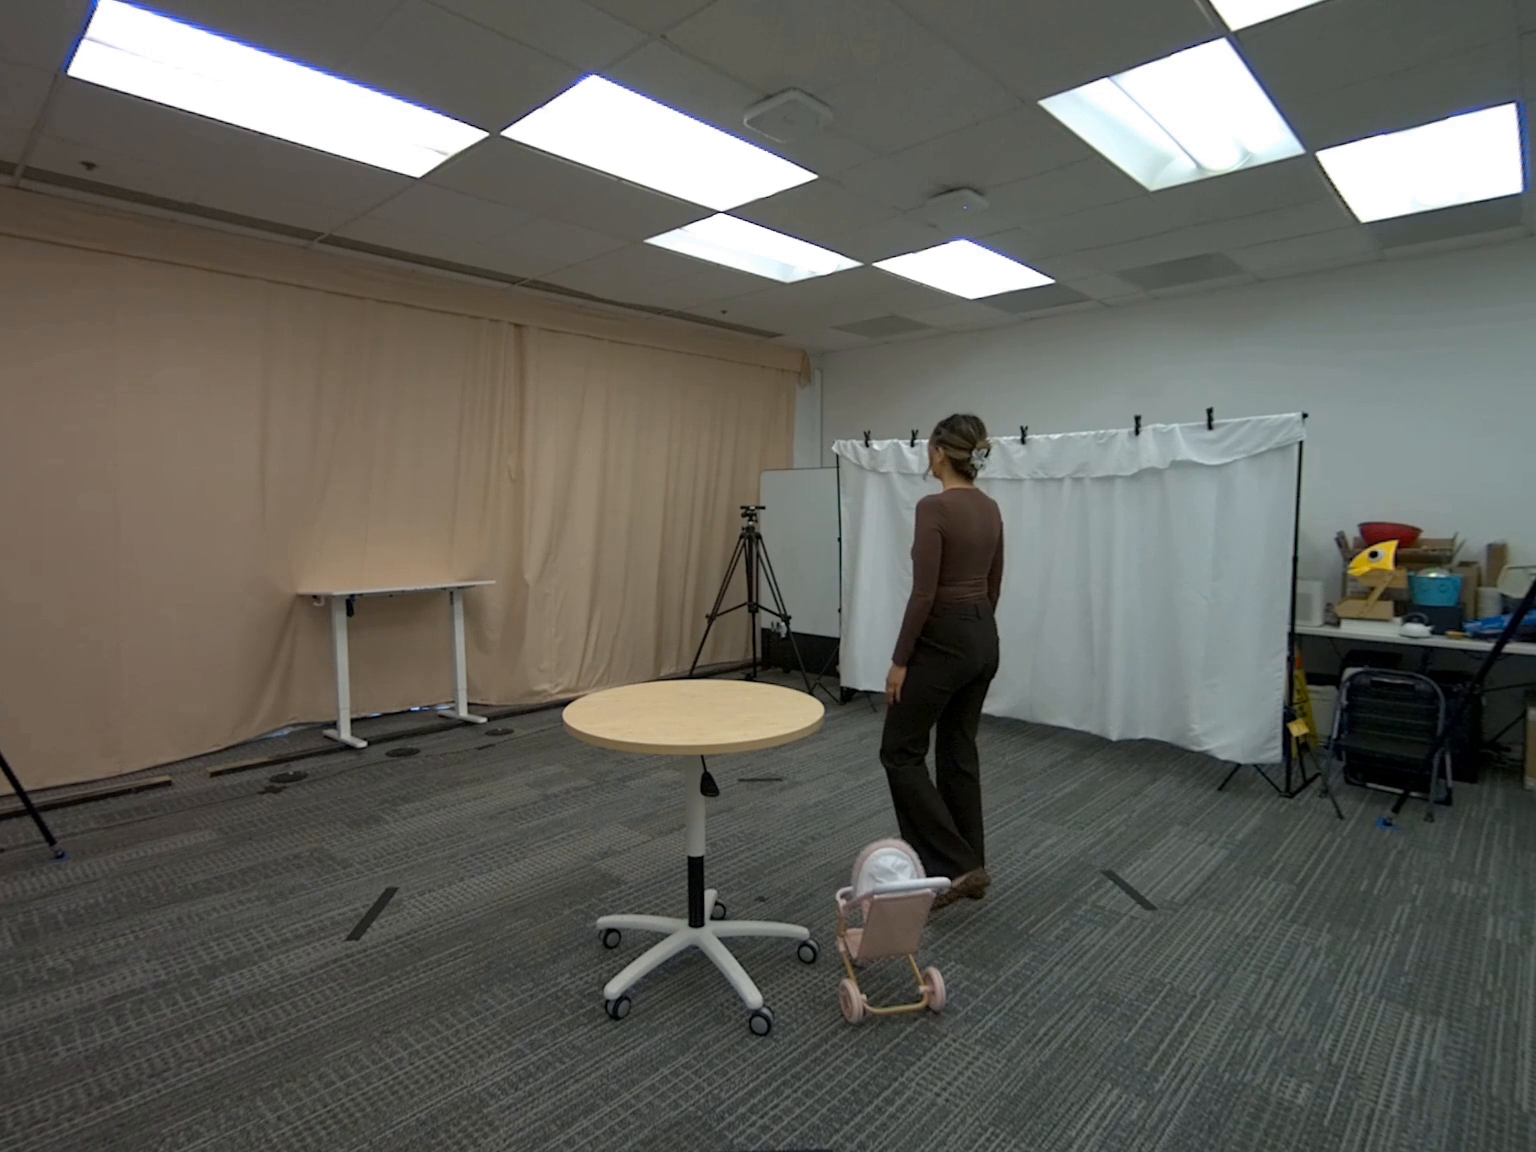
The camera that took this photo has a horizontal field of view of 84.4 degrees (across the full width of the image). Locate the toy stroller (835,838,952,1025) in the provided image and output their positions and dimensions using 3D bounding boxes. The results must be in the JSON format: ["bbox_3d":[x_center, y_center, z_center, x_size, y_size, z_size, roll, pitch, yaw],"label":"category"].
[{"bbox_3d":[0.330,0.969,2.356,0.278,0.530,0.348,0,18,-11],"label":"toy stroller"}]
